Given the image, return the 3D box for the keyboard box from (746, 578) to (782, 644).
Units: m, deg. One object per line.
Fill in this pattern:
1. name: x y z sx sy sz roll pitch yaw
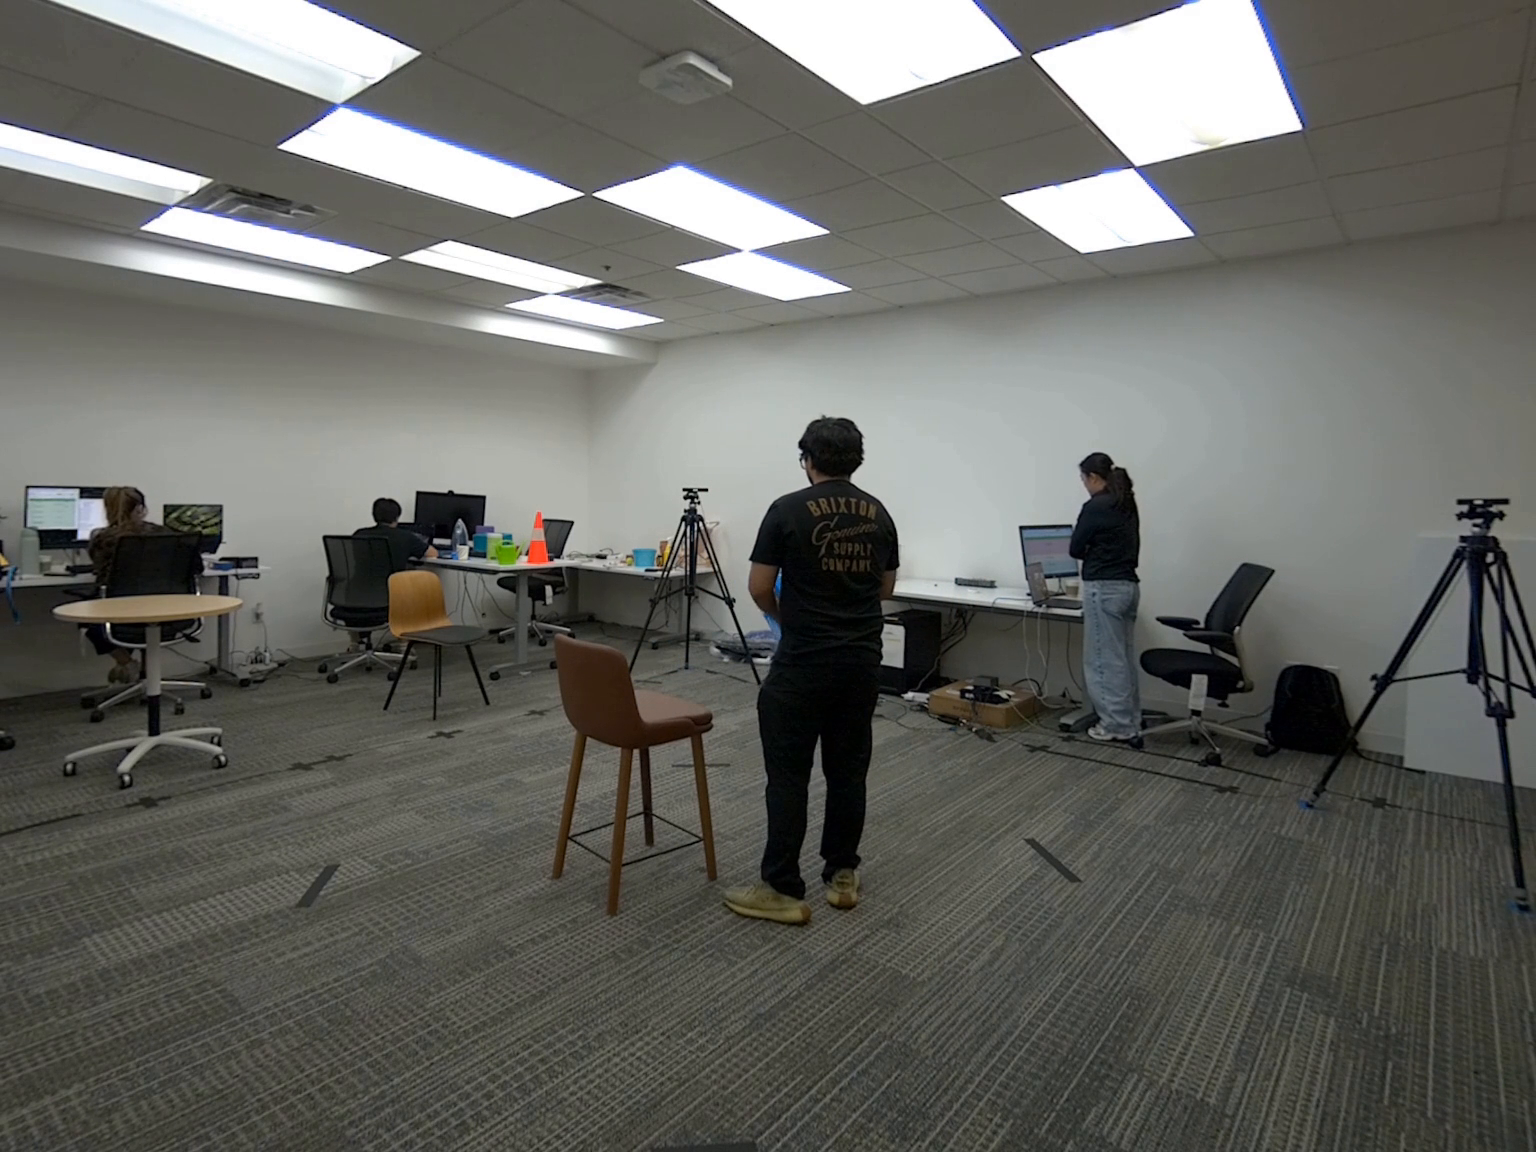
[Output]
1. keyboard box: 0.030 0.099 3.303 0.058 0.173 0.454 2 31 -25
